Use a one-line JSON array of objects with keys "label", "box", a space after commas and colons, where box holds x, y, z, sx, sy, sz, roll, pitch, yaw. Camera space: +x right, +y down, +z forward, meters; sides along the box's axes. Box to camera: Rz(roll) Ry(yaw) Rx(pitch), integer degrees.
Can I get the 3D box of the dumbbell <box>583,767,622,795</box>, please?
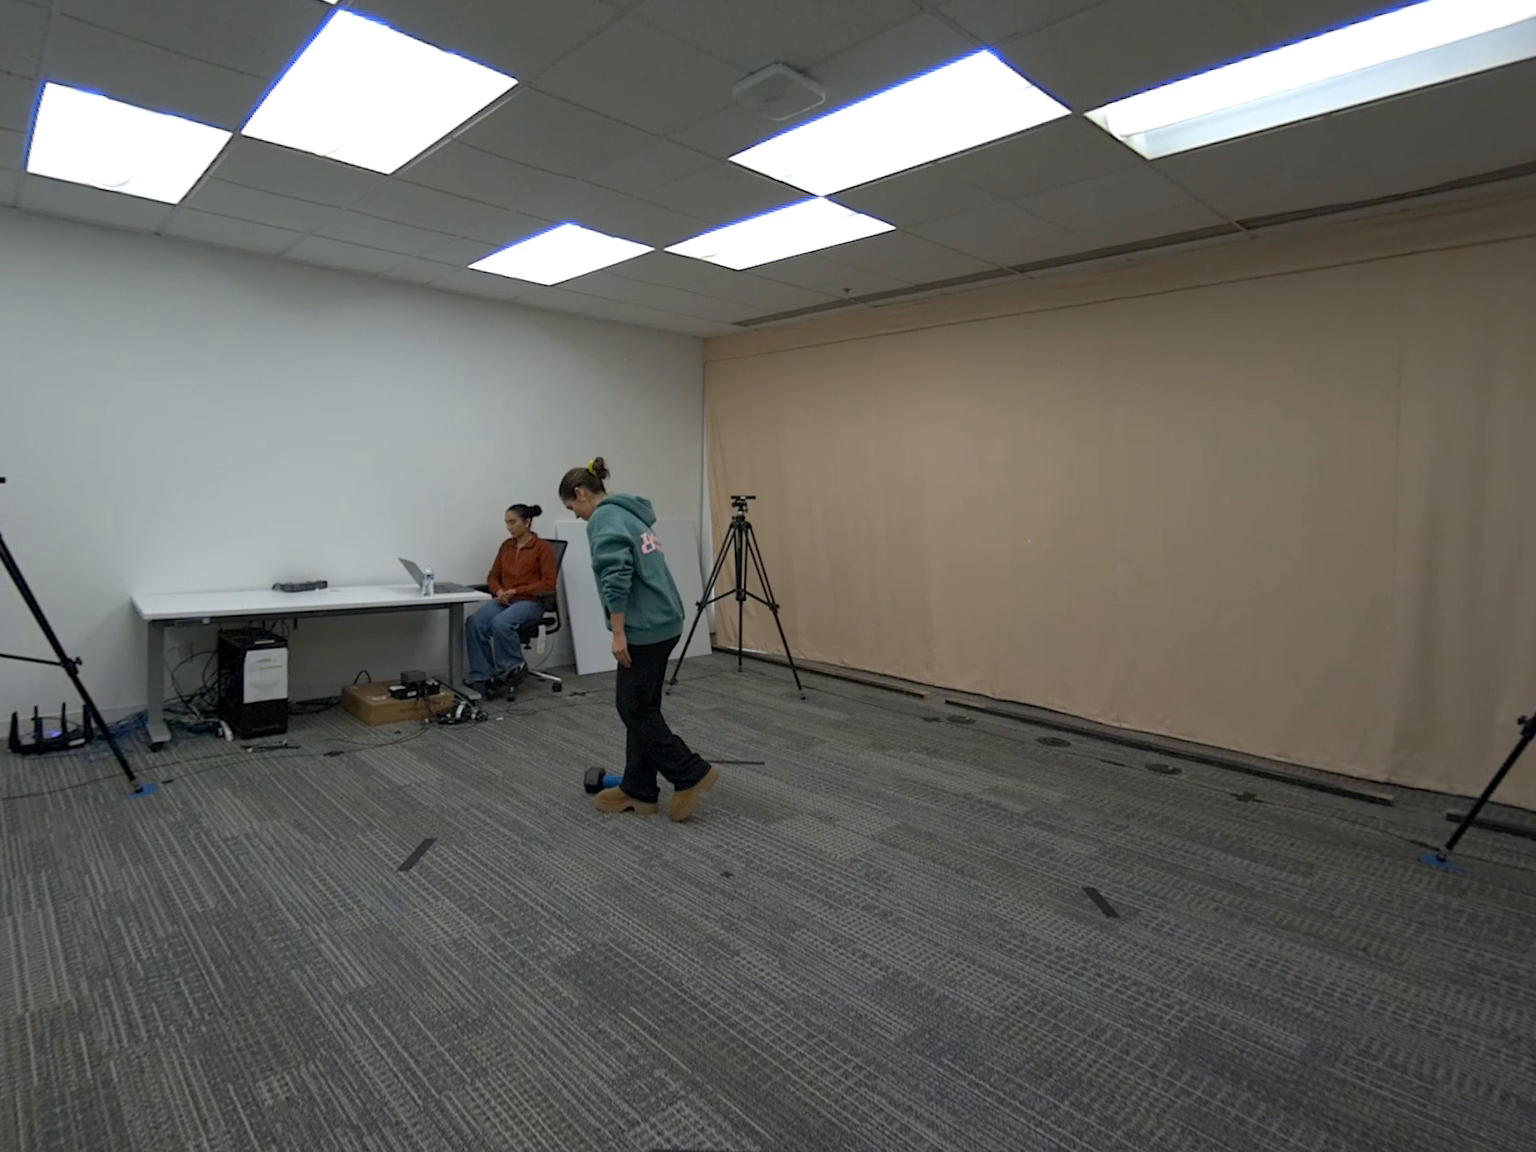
[{"label": "dumbbell", "box": [-0.719, 0.965, 3.932, 0.296, 0.124, 0.106, 3, -23, 9]}]
